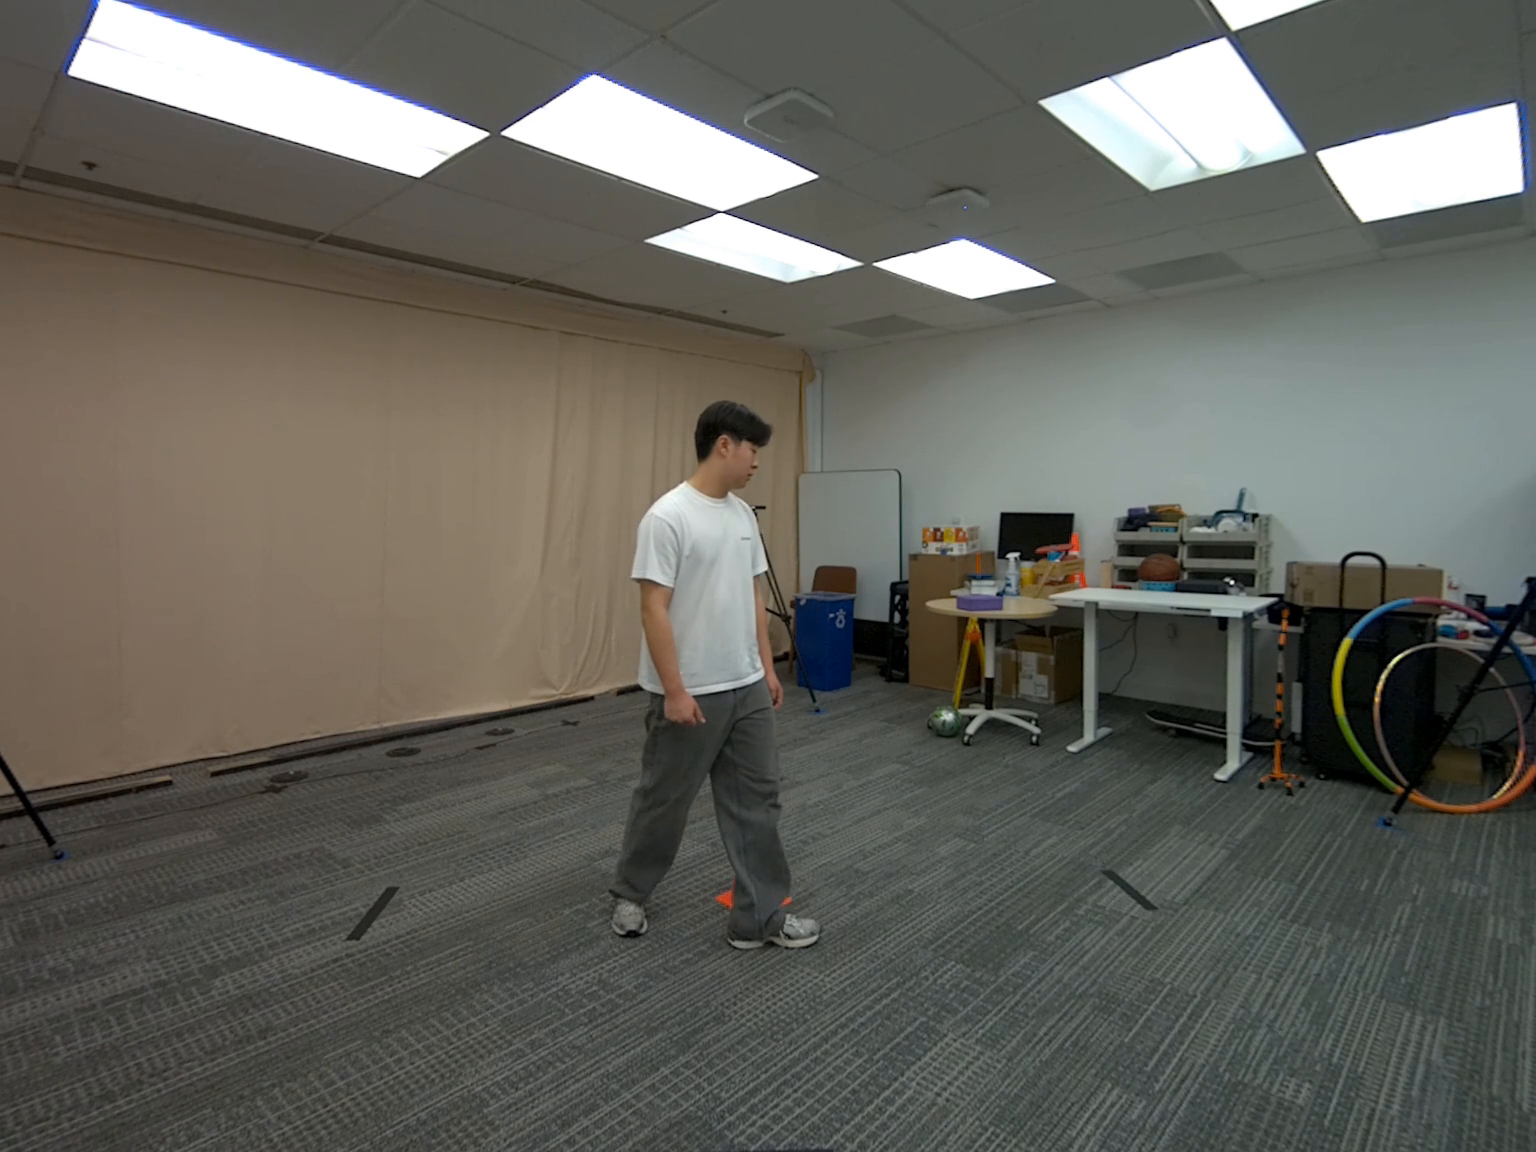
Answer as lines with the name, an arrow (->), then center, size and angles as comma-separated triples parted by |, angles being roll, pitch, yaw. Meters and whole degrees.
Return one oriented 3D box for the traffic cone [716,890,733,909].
traffic cone -> -0.041, 0.964, 2.958 | 0.211, 0.382, 0.198 | 4, 7, 34
